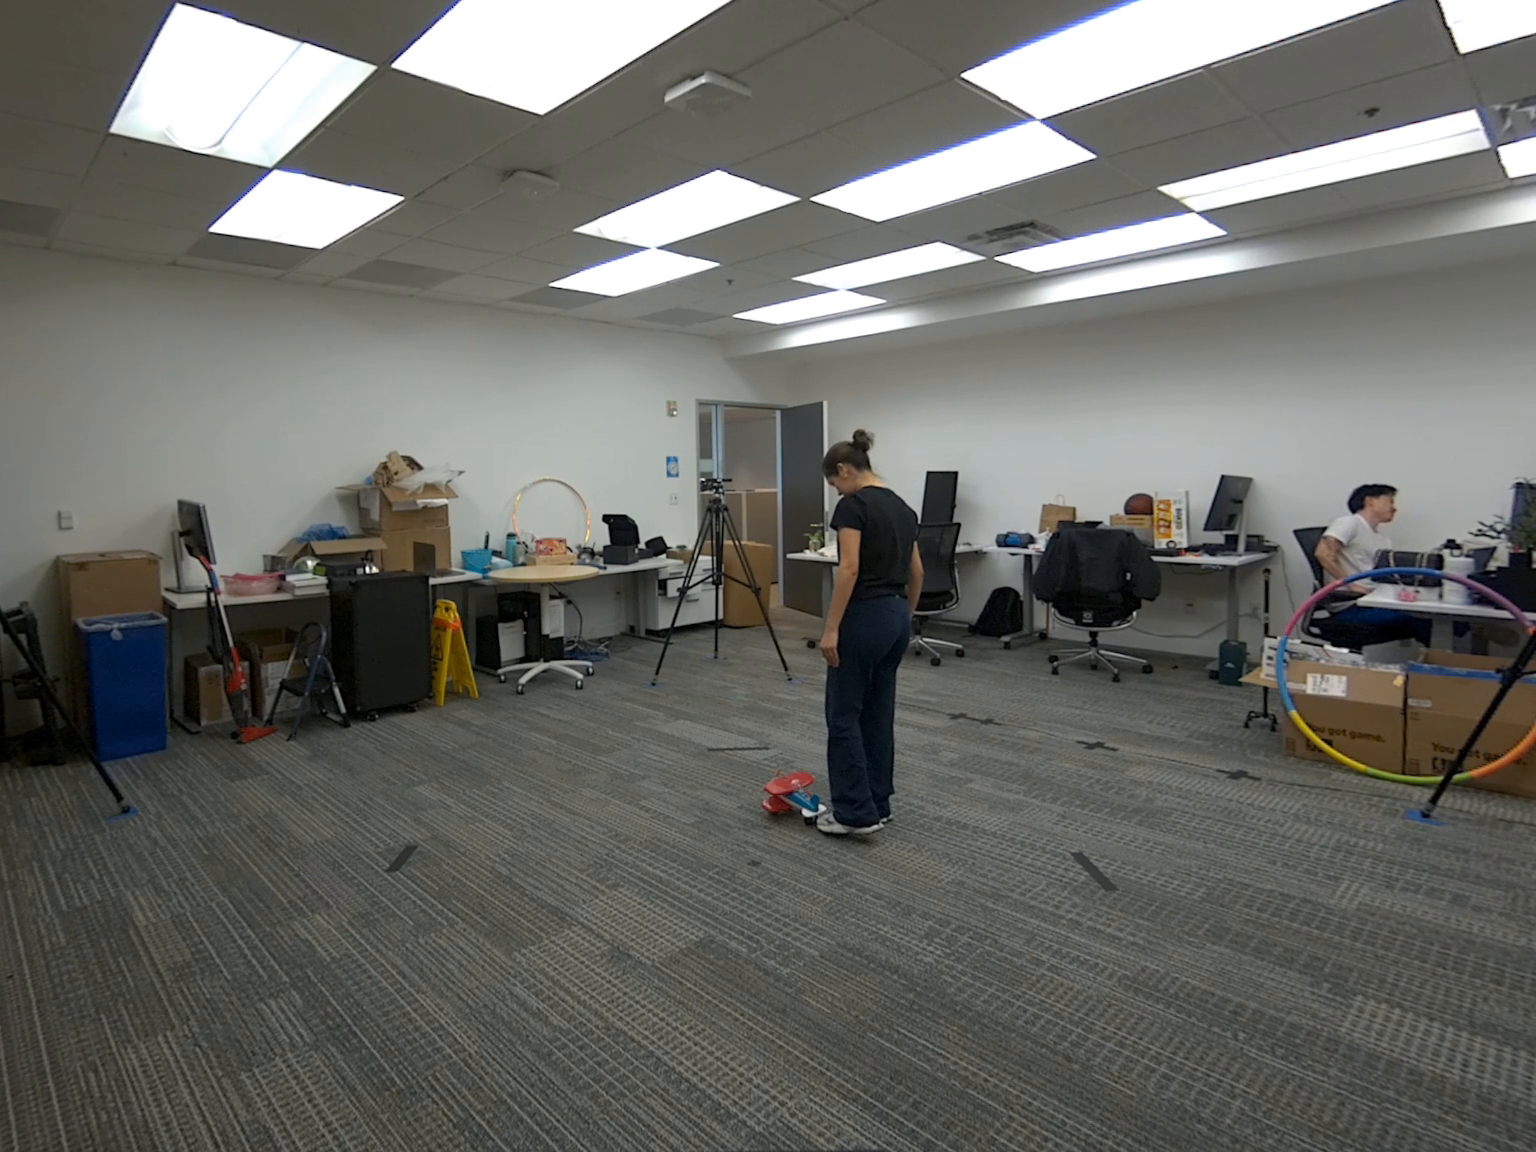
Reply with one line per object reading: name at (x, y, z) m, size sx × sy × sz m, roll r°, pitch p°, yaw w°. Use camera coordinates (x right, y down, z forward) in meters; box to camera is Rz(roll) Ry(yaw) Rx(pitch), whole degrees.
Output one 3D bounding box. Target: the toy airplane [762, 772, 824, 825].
toy airplane at (0.123, 0.921, 3.558) m, size 0.264 × 0.156 × 0.247 m, roll 0°, pitch 5°, yaw 19°
